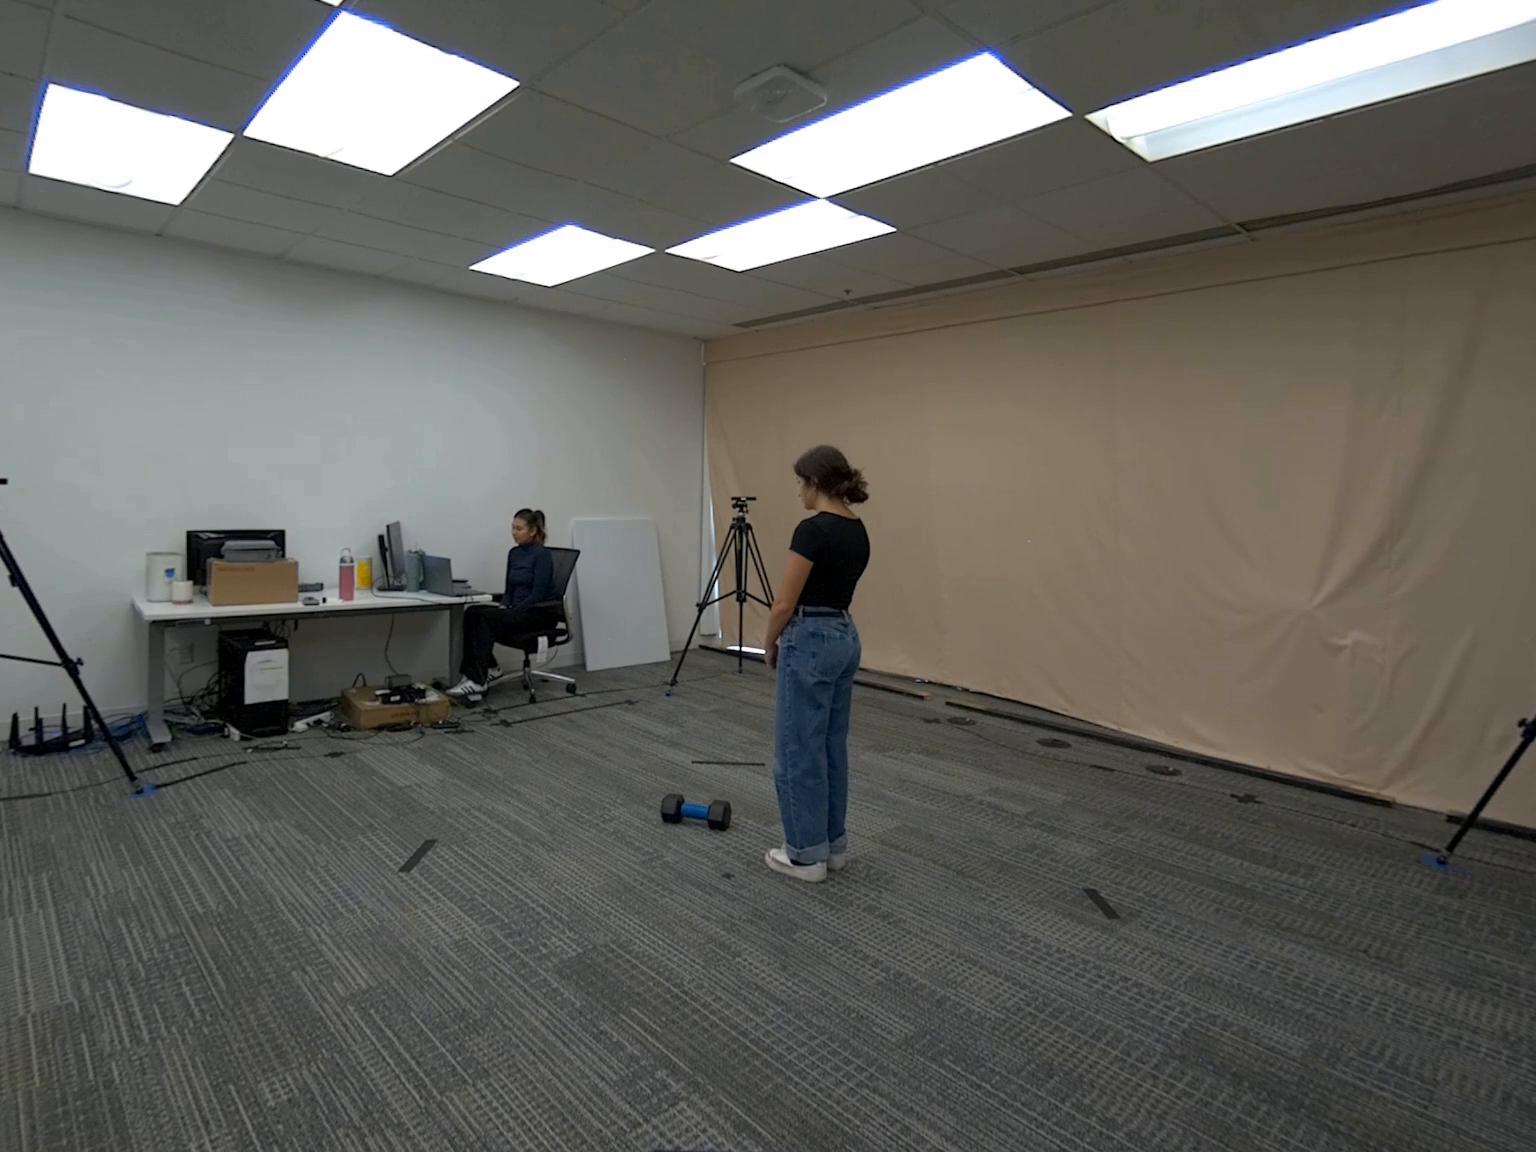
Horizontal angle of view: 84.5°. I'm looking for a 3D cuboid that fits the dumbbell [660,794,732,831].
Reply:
[{"bbox_3d":[-0.315,1.004,3.592,0.298,0.124,0.106,2,-26,17],"label":"dumbbell"}]
